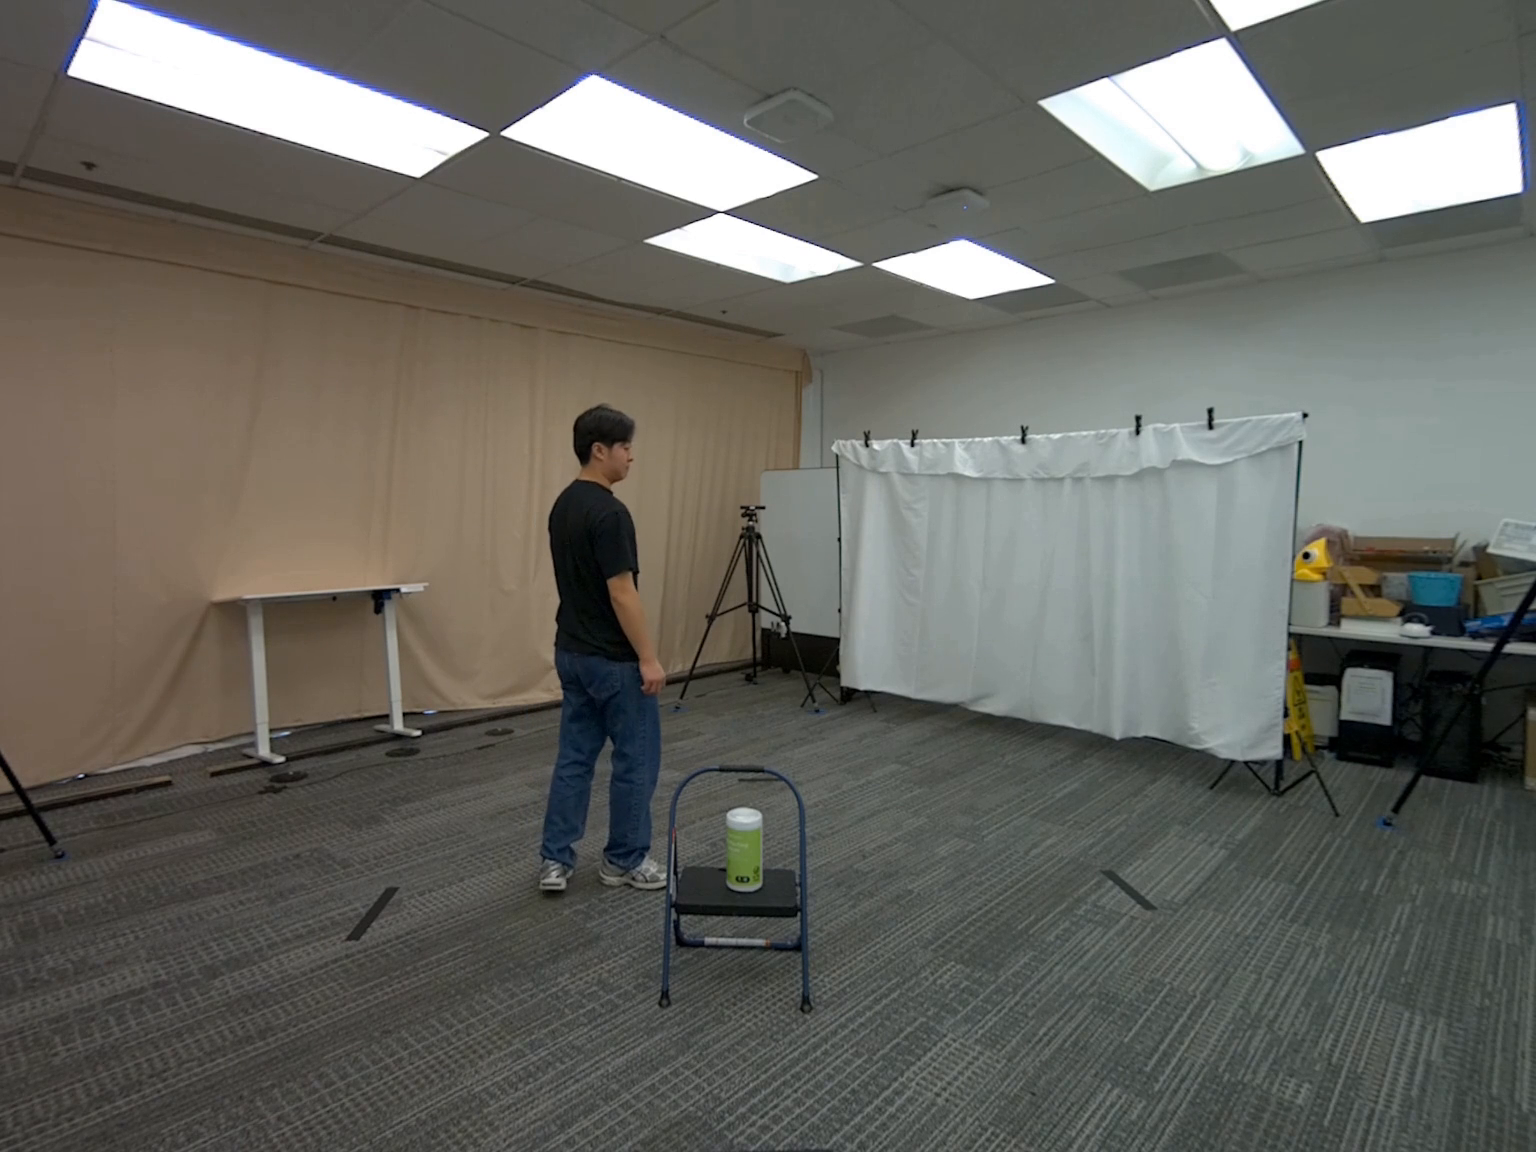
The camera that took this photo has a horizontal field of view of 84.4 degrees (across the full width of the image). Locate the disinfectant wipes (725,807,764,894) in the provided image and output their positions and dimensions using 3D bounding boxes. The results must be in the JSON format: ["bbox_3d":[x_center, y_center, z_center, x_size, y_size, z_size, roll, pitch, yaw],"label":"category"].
[{"bbox_3d":[-0.062,0.818,2.507,0.118,0.217,0.118,-2,5,-2],"label":"disinfectant wipes"}]
